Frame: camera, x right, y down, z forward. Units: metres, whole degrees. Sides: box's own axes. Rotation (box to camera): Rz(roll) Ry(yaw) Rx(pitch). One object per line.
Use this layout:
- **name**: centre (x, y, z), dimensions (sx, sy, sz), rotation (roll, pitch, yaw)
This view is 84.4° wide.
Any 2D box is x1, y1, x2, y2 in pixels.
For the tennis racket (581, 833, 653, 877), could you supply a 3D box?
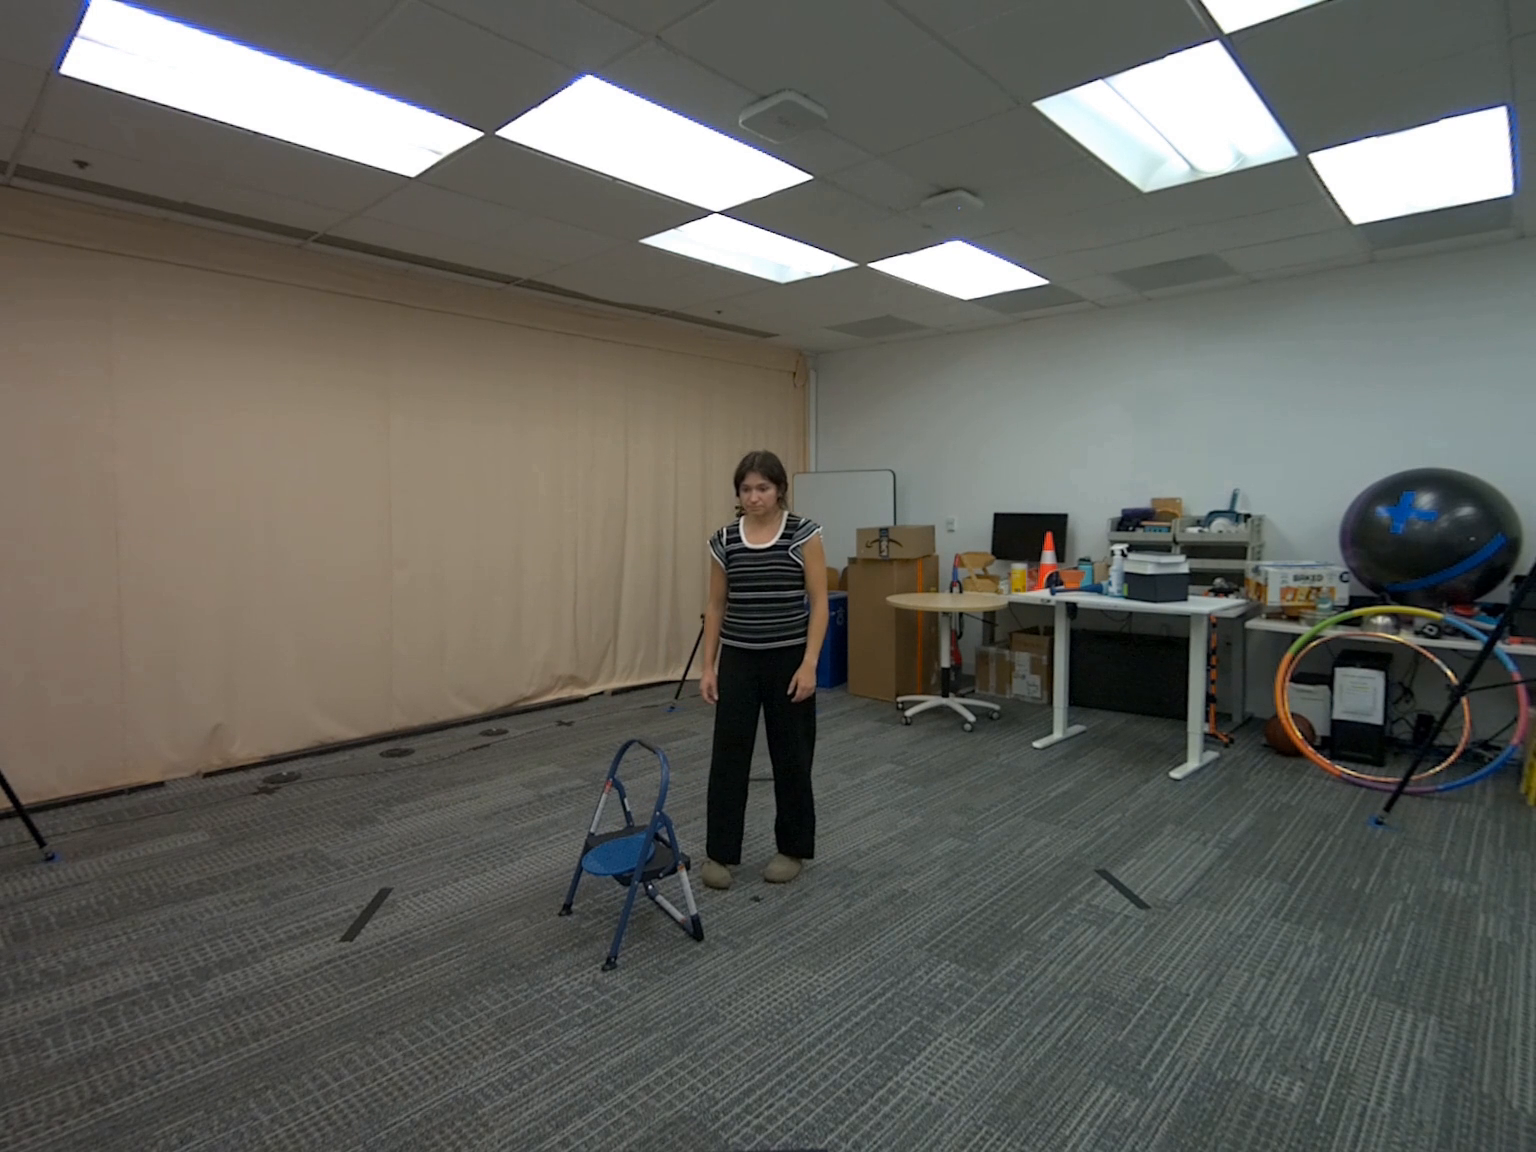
- **tennis racket**: centre (-0.444, 0.894, 2.794), dimensions (0.218, 0.031, 0.425), rotation (-1, 7, 21)
